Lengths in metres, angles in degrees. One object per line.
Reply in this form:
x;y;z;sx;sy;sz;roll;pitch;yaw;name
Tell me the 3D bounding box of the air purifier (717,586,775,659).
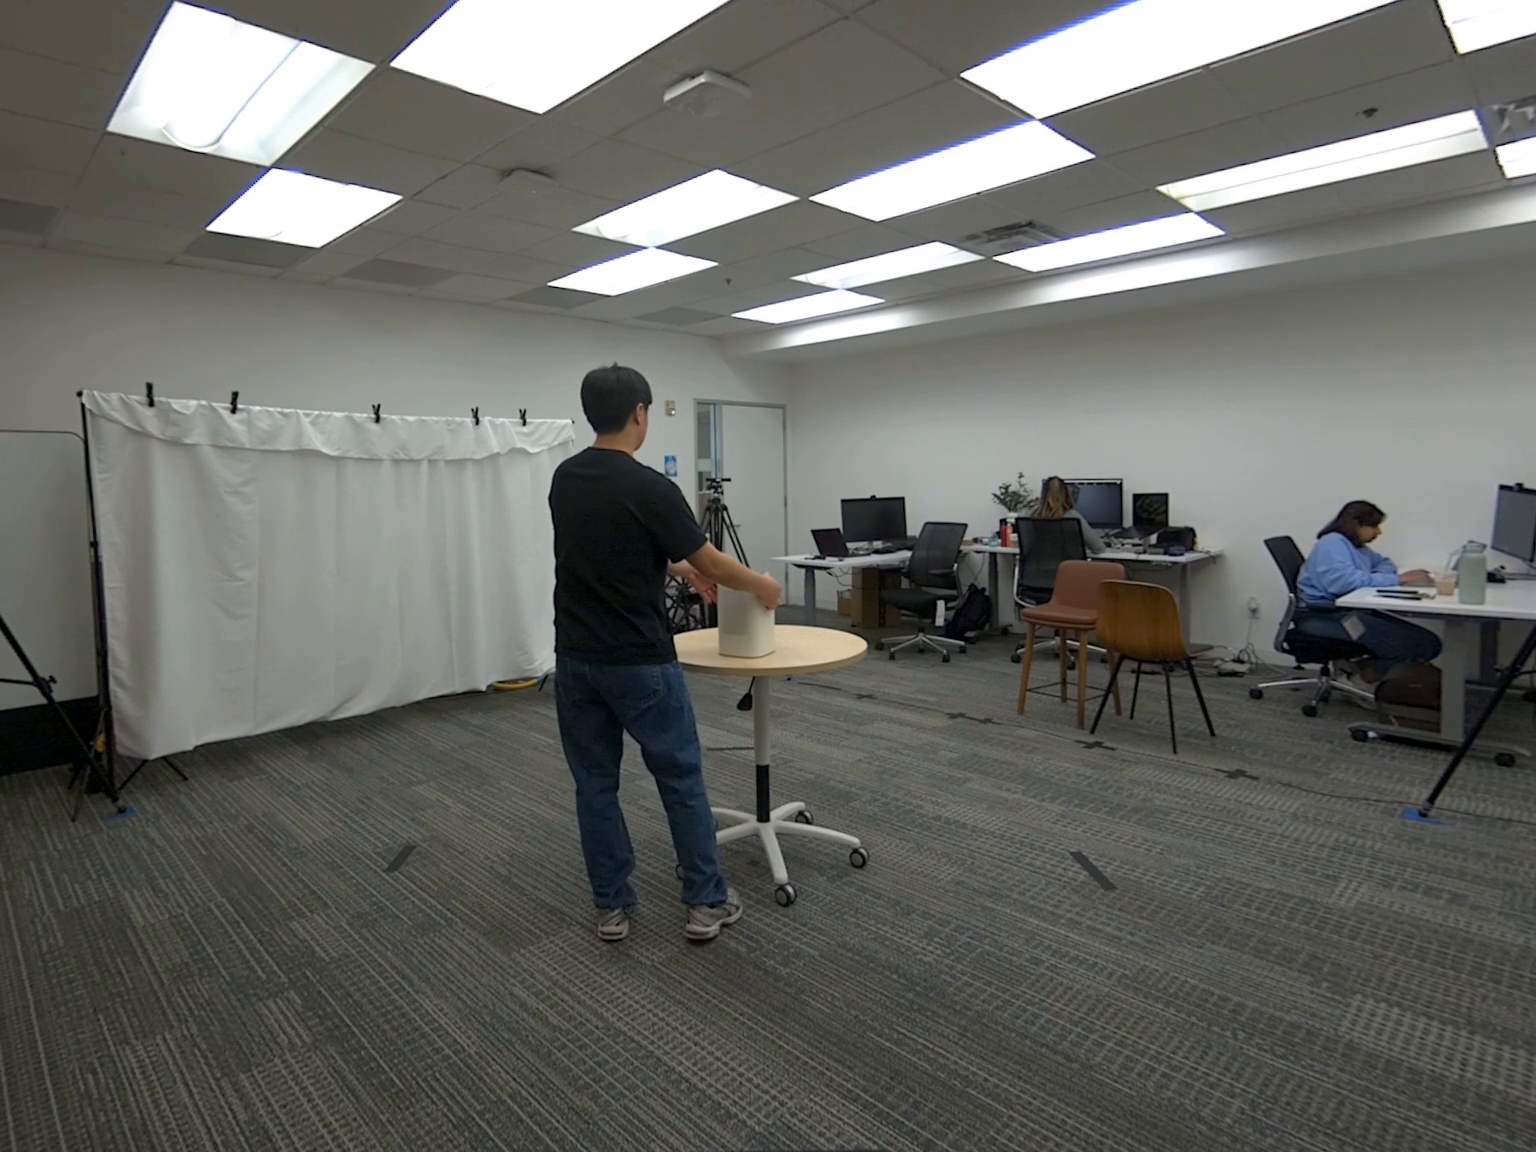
-0.071;0.133;2.945;0.176;0.264;0.167;2;7;31;air purifier
